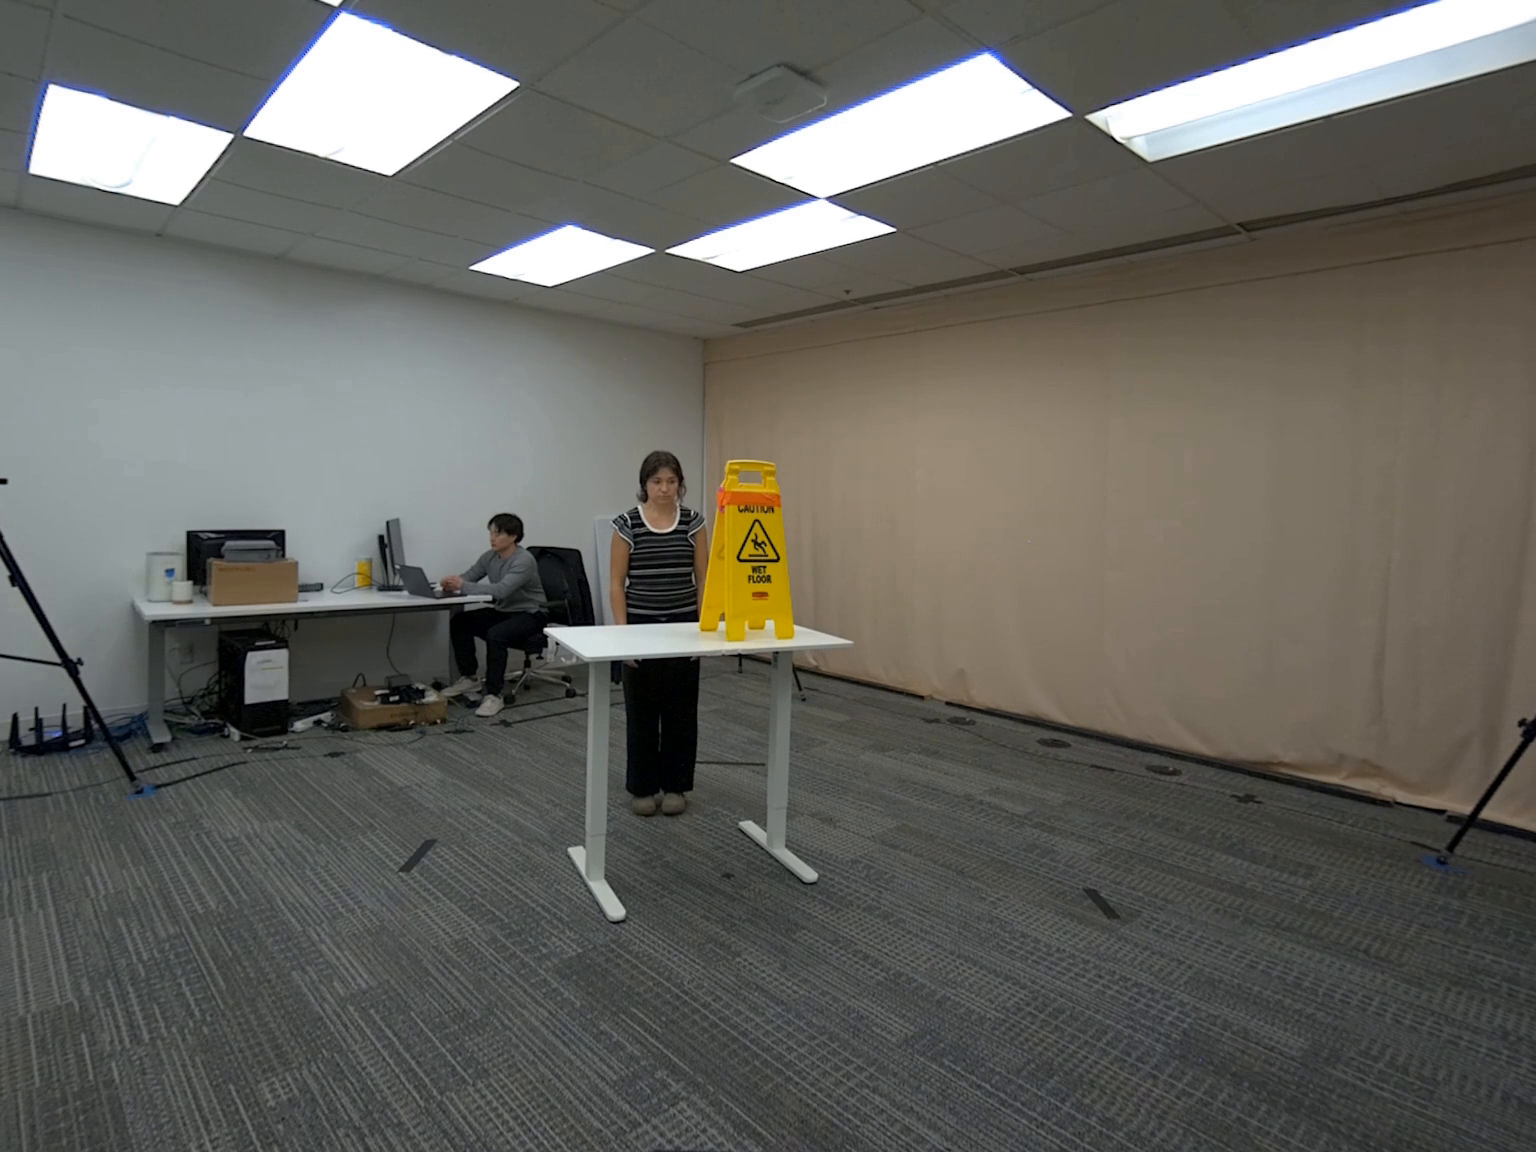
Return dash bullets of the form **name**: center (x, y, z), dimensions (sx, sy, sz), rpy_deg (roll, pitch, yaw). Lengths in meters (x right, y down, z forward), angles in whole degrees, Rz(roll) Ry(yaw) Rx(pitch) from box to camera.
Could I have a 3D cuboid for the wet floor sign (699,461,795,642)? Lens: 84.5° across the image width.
- **wet floor sign**: center (-0.079, -0.101, 3.144), dimensions (0.277, 0.644, 0.296), rpy_deg (-1, 4, -27)
